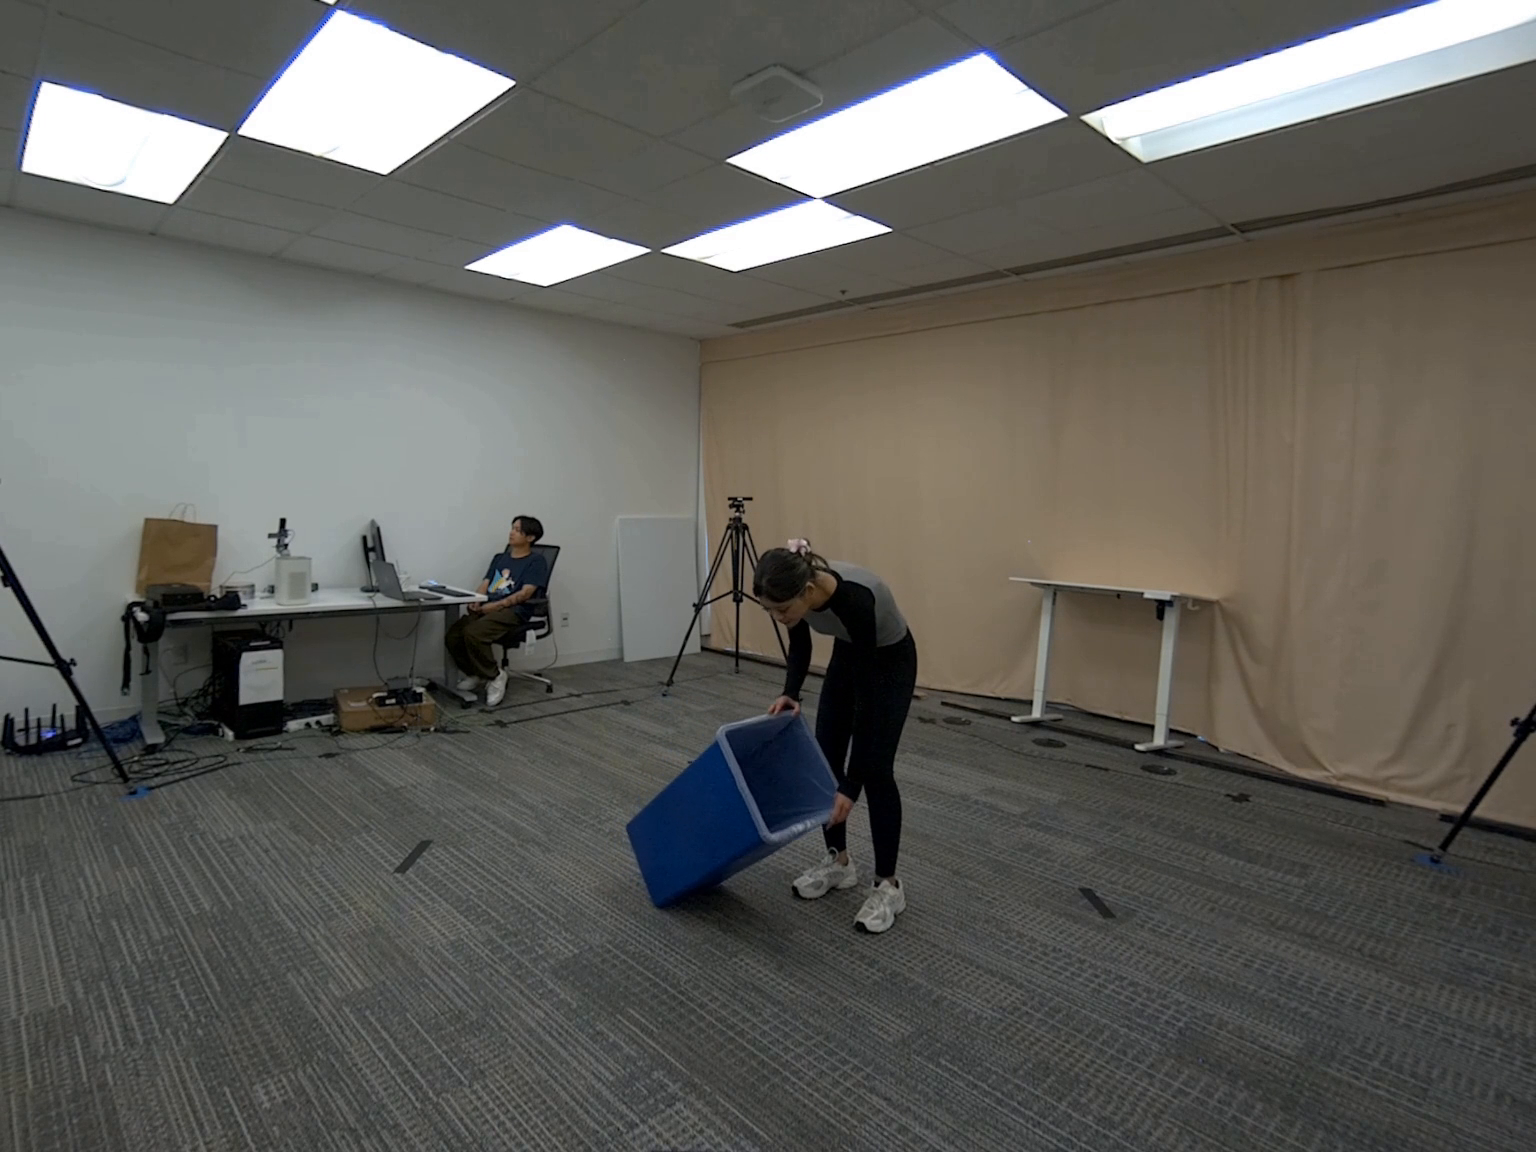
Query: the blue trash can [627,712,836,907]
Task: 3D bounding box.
[{"bbox_3d":[-0.148,0.791,2.783,0.369,0.382,0.714,-4,-32,-44],"label":"blue trash can"}]
